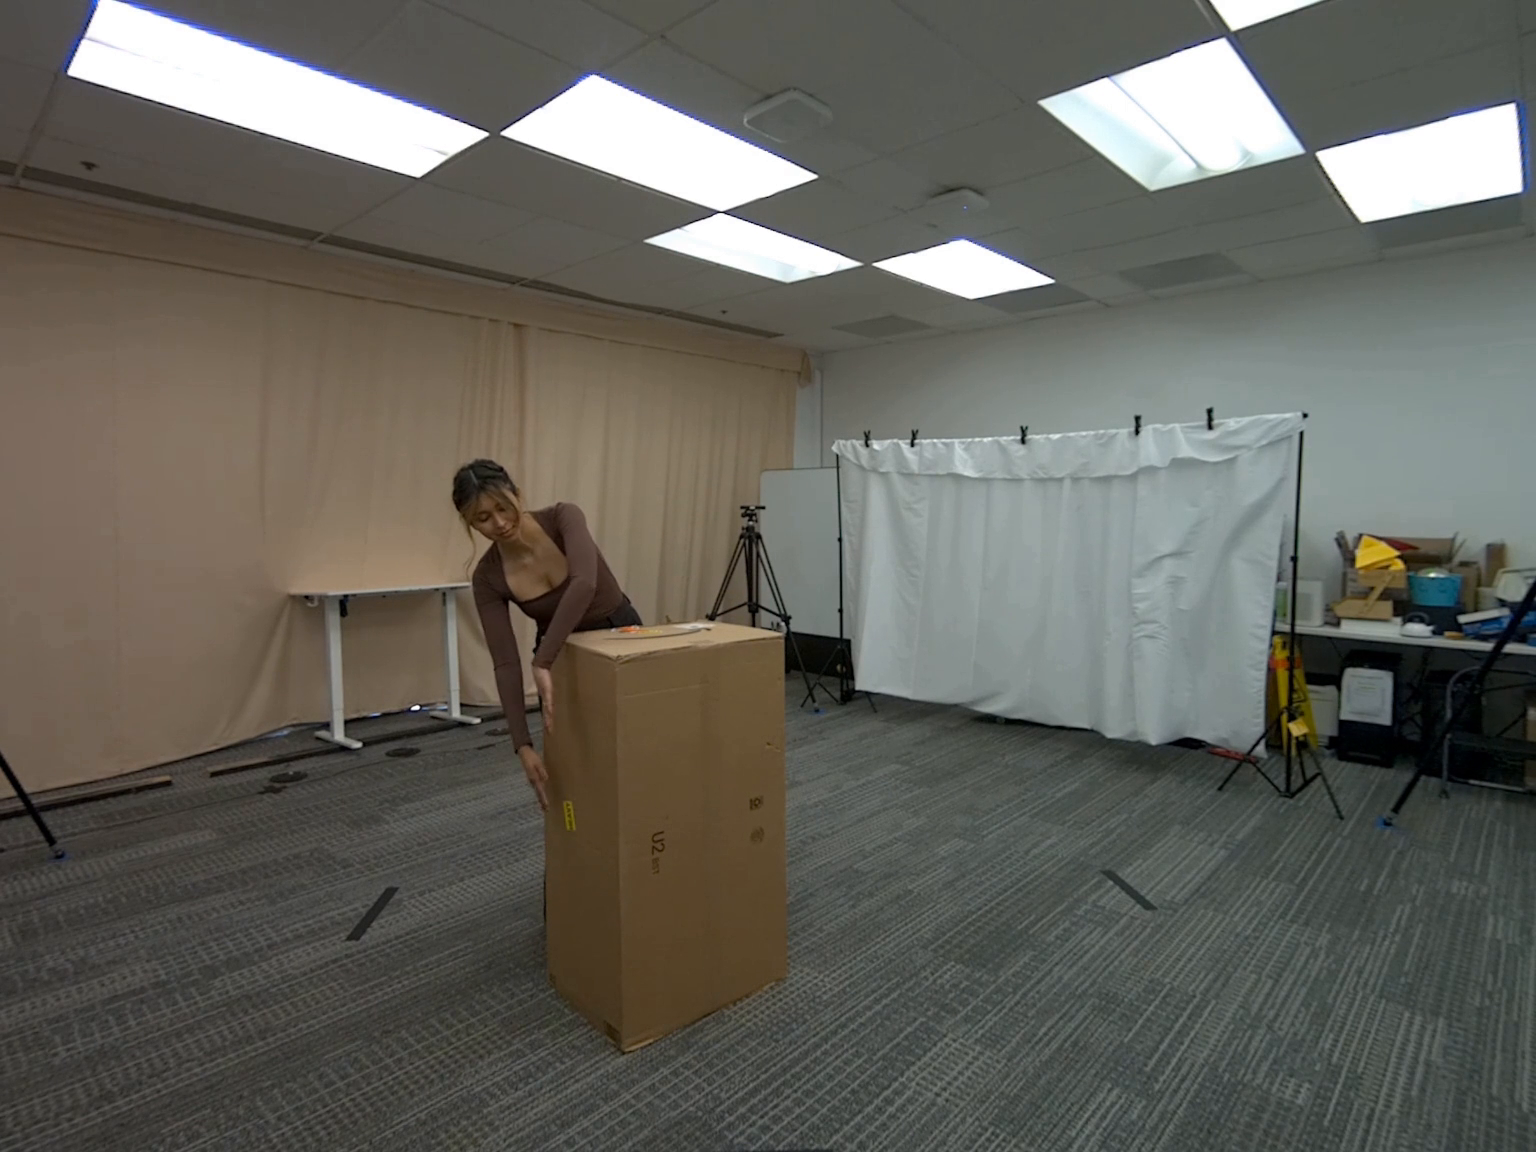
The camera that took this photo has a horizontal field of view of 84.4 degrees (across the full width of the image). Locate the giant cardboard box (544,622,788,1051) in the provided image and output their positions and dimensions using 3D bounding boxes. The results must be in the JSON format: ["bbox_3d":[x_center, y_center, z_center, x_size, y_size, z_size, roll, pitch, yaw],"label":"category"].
[{"bbox_3d":[-0.293,0.680,2.454,0.566,1.025,0.461,-2,3,-39],"label":"giant cardboard box"}]
